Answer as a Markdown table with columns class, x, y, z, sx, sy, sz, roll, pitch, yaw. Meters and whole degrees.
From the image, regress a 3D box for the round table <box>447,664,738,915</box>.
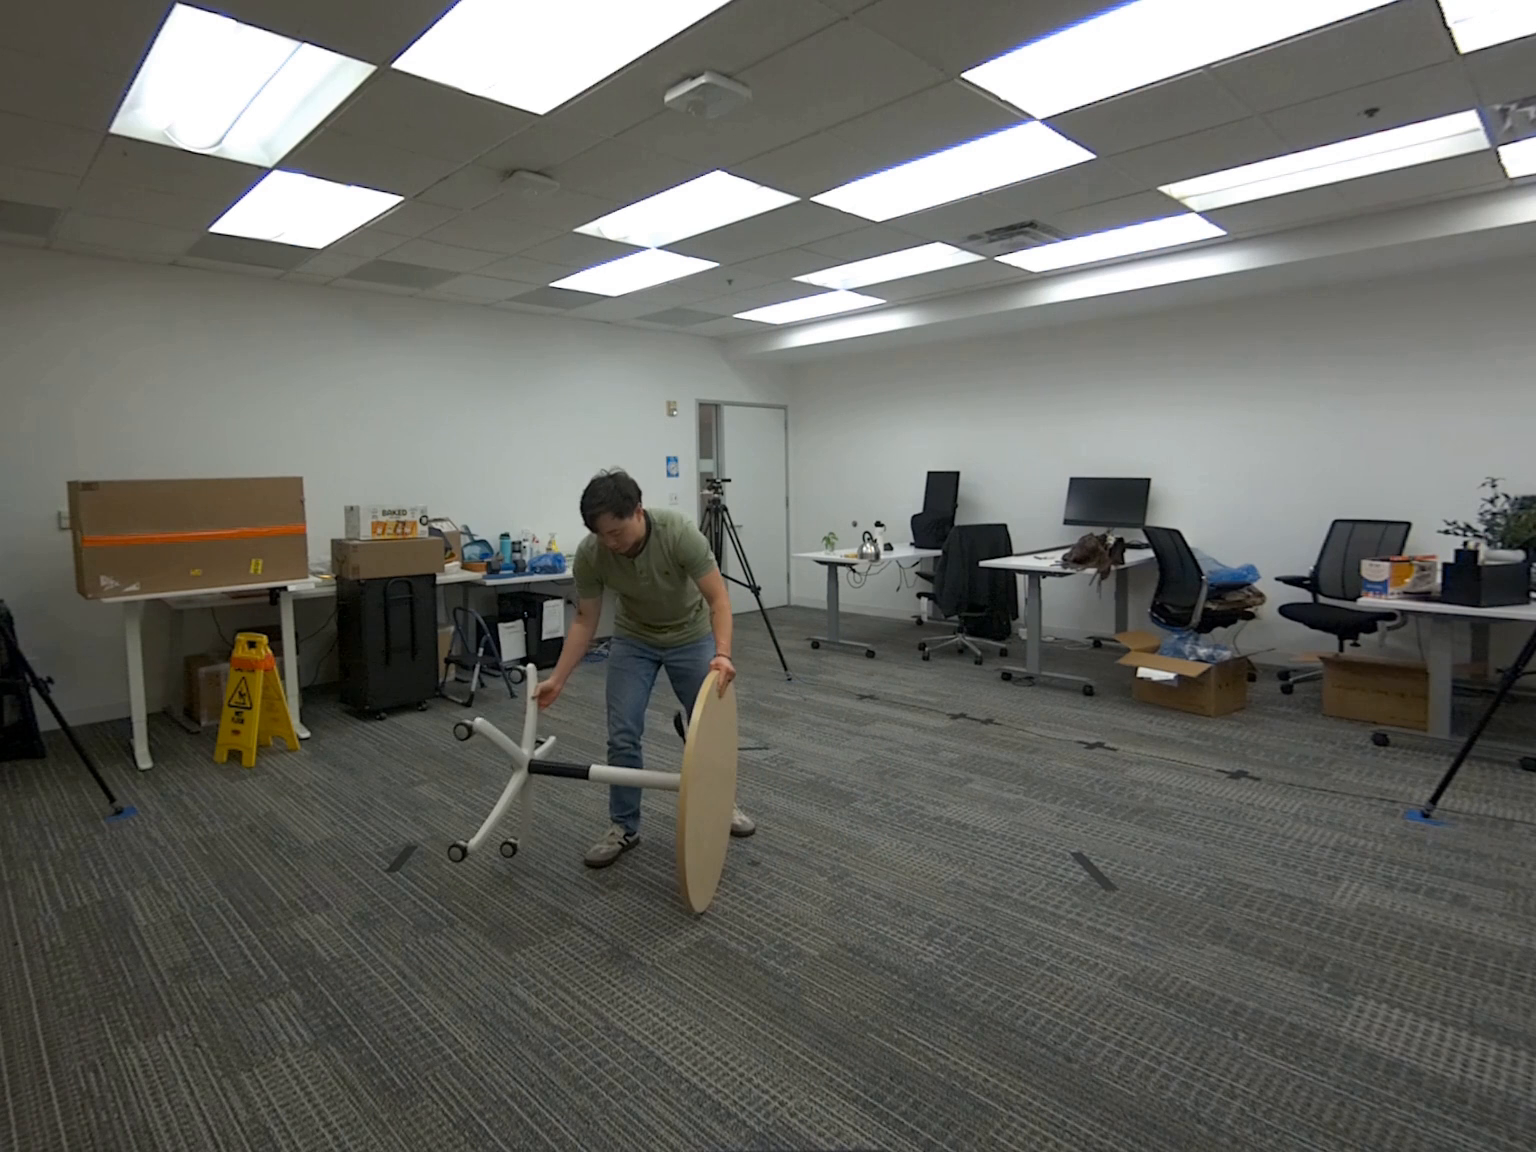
| class | x | y | z | sx | sy | sz | roll | pitch | yaw |
| --- | --- | --- | --- | --- | --- | --- | --- | --- | --- |
| round table | -0.568 | 0.682 | 2.901 | 0.803 | 0.761 | 0.758 | 2 | 5 | 11 |
